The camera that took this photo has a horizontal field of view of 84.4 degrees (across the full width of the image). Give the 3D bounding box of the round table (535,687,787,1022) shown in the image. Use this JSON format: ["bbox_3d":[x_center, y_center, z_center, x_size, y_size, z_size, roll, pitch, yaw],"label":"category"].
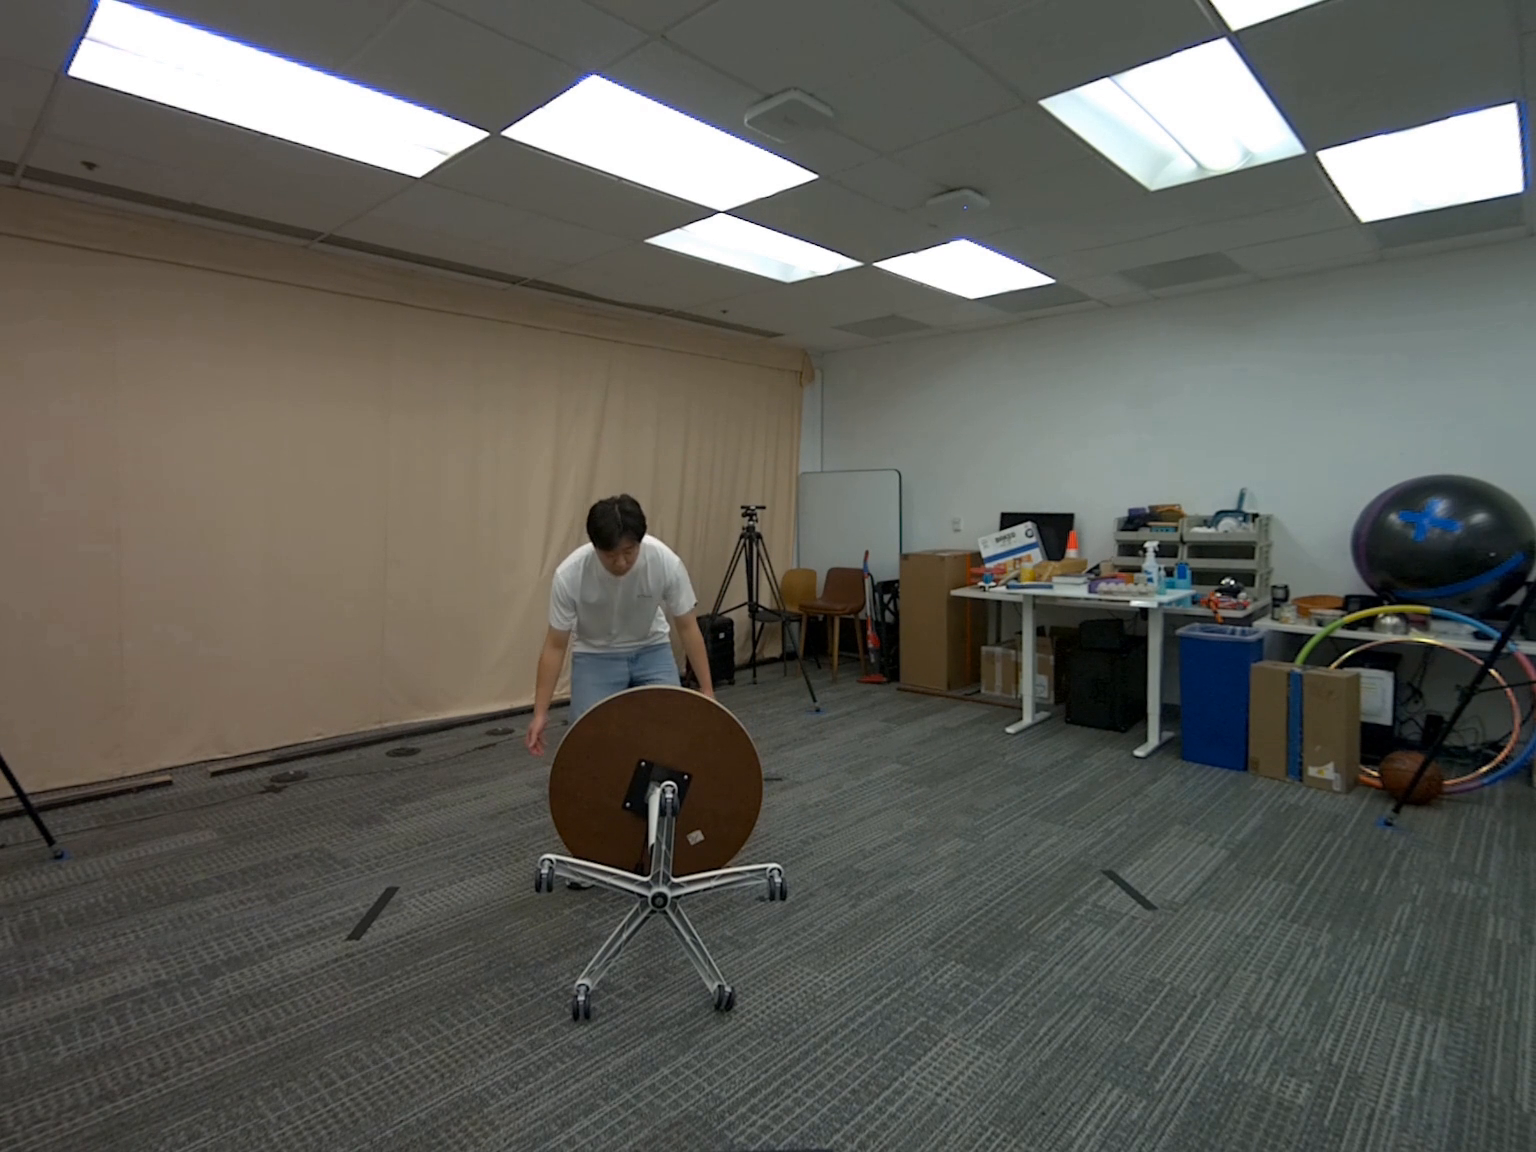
[{"bbox_3d":[-0.334,0.829,2.634,0.780,0.780,0.796,0,10,-7],"label":"round table"}]
